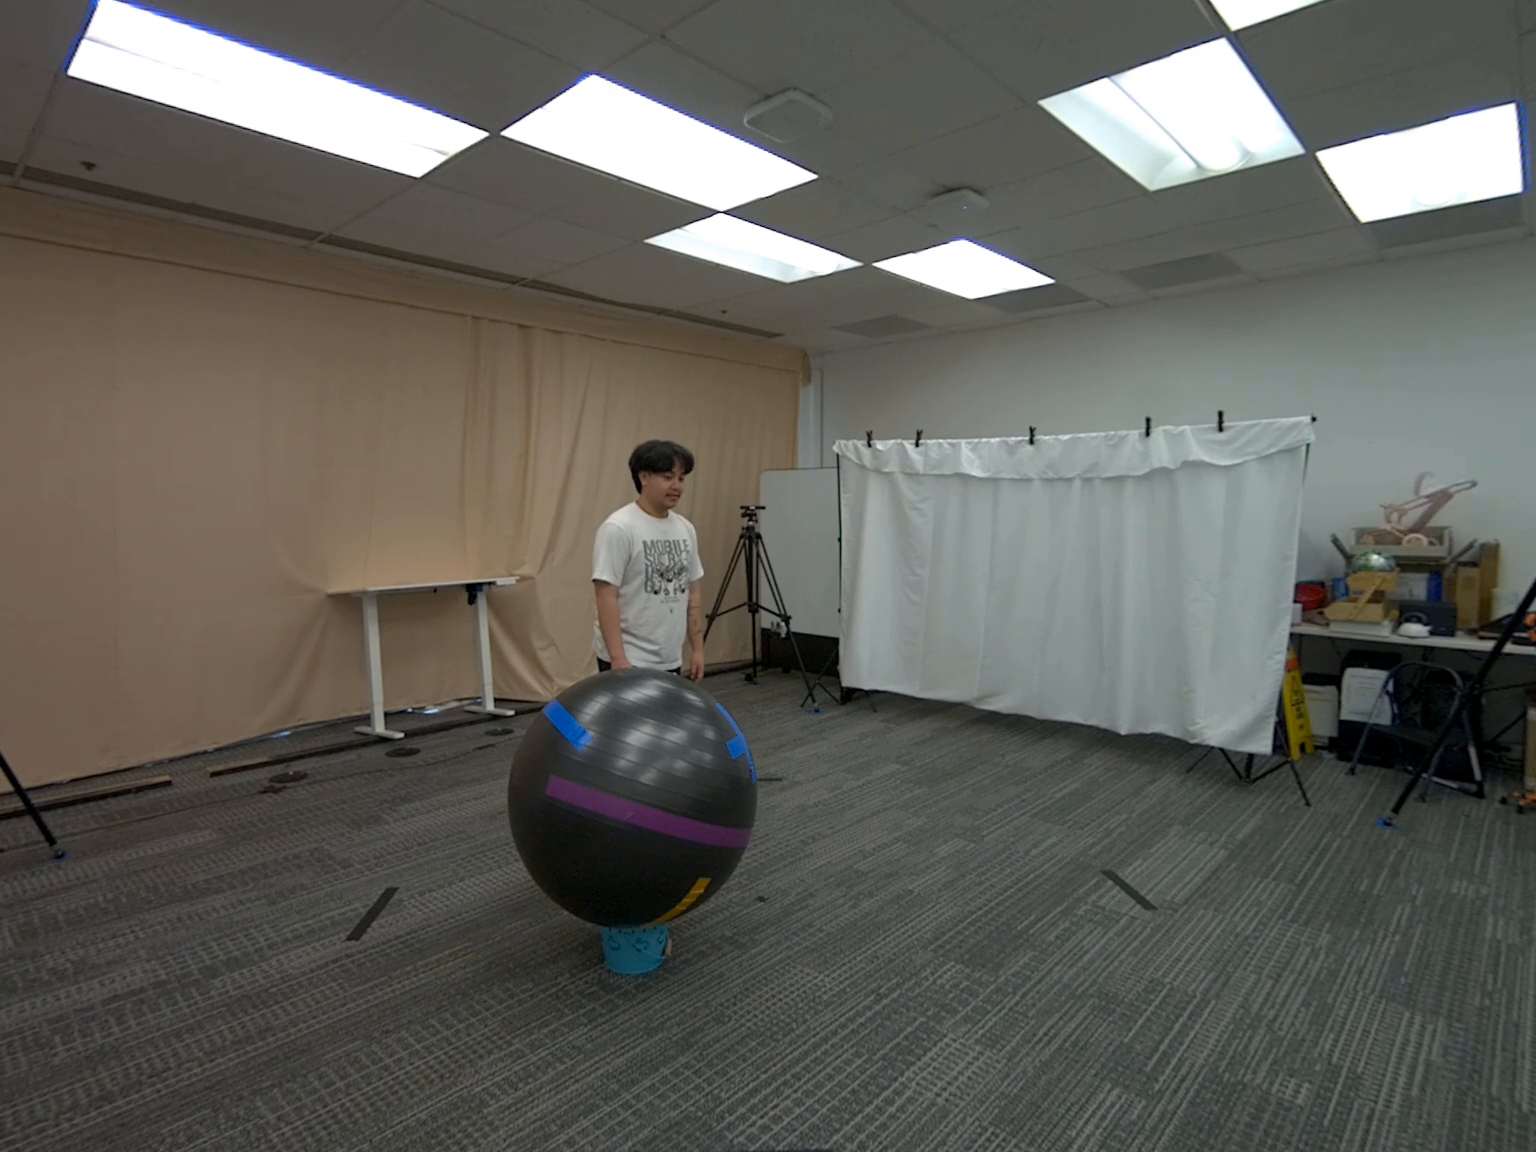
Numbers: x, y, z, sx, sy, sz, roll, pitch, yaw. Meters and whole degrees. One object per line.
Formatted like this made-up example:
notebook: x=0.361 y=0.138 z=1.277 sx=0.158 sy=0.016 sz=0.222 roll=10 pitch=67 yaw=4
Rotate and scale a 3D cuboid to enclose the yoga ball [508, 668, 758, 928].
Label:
yoga ball: x=-0.415 y=0.666 z=2.580 sx=0.757 sy=0.756 sz=0.760 roll=0 pitch=4 yaw=-2
